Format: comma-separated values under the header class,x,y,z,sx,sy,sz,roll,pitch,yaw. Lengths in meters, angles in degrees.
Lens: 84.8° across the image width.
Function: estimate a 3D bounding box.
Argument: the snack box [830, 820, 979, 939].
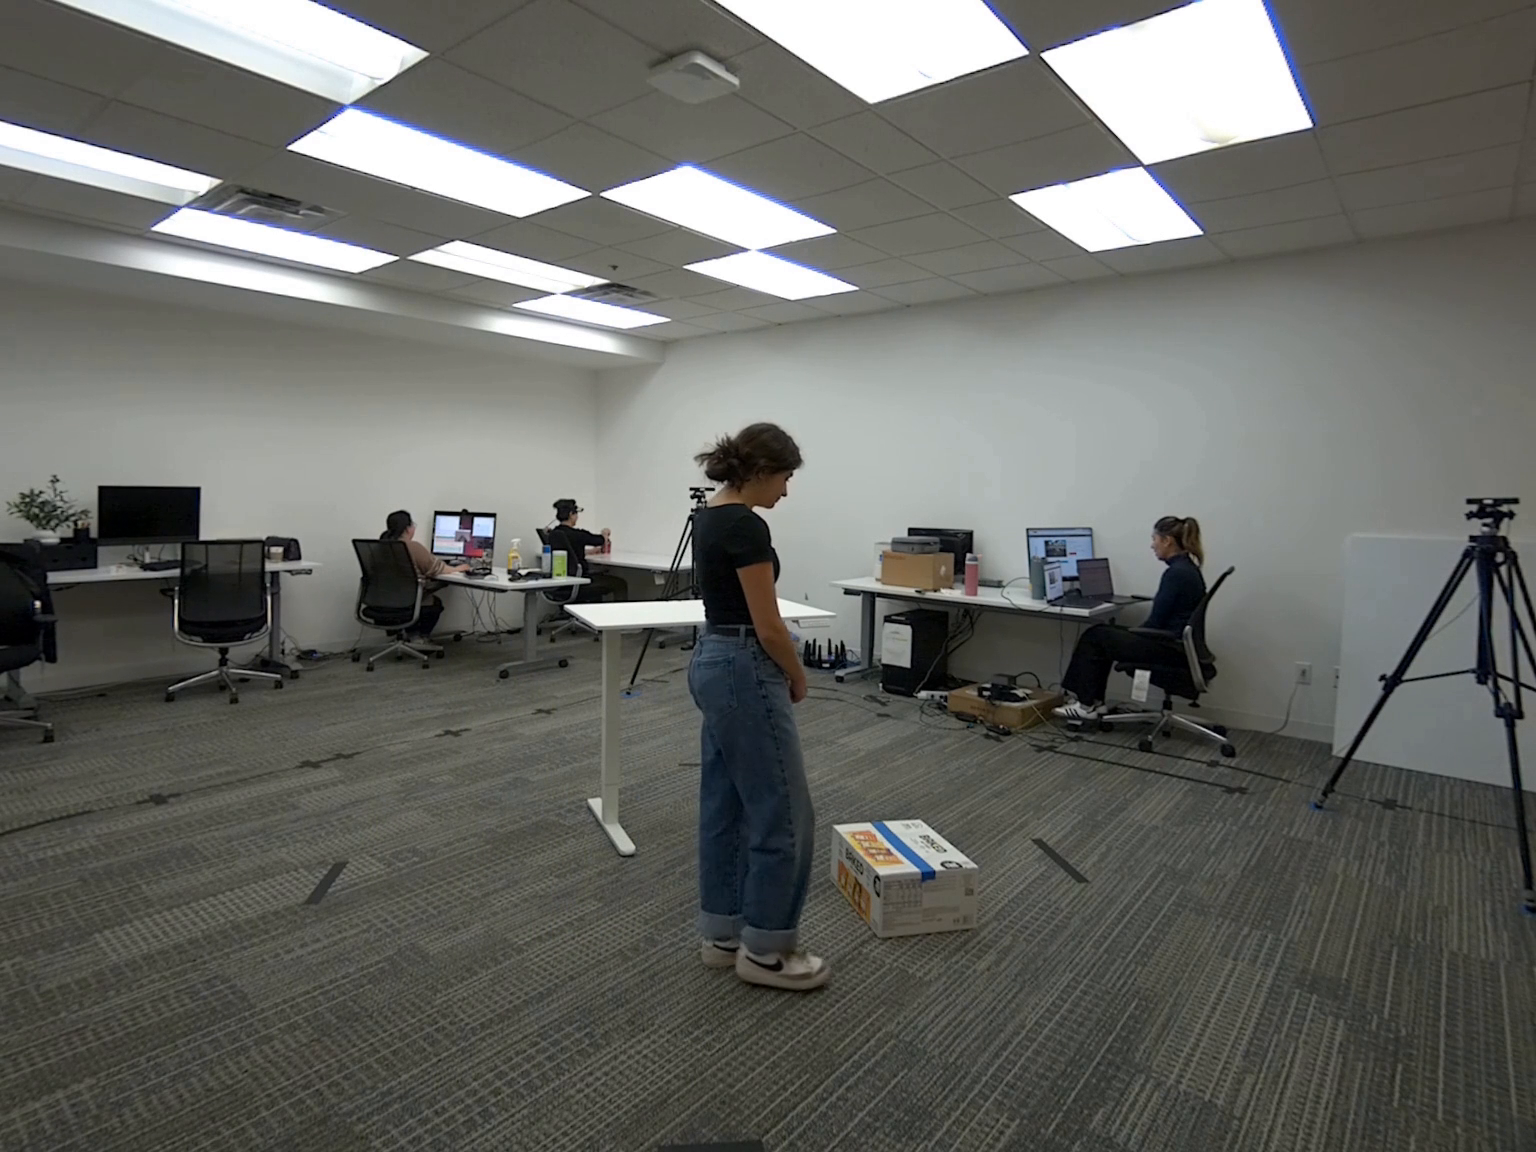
class,x,y,z,sx,sy,sz,roll,pitch,yaw
snack box,0.445,1.004,2.868,0.335,0.205,0.413,0,6,-16
